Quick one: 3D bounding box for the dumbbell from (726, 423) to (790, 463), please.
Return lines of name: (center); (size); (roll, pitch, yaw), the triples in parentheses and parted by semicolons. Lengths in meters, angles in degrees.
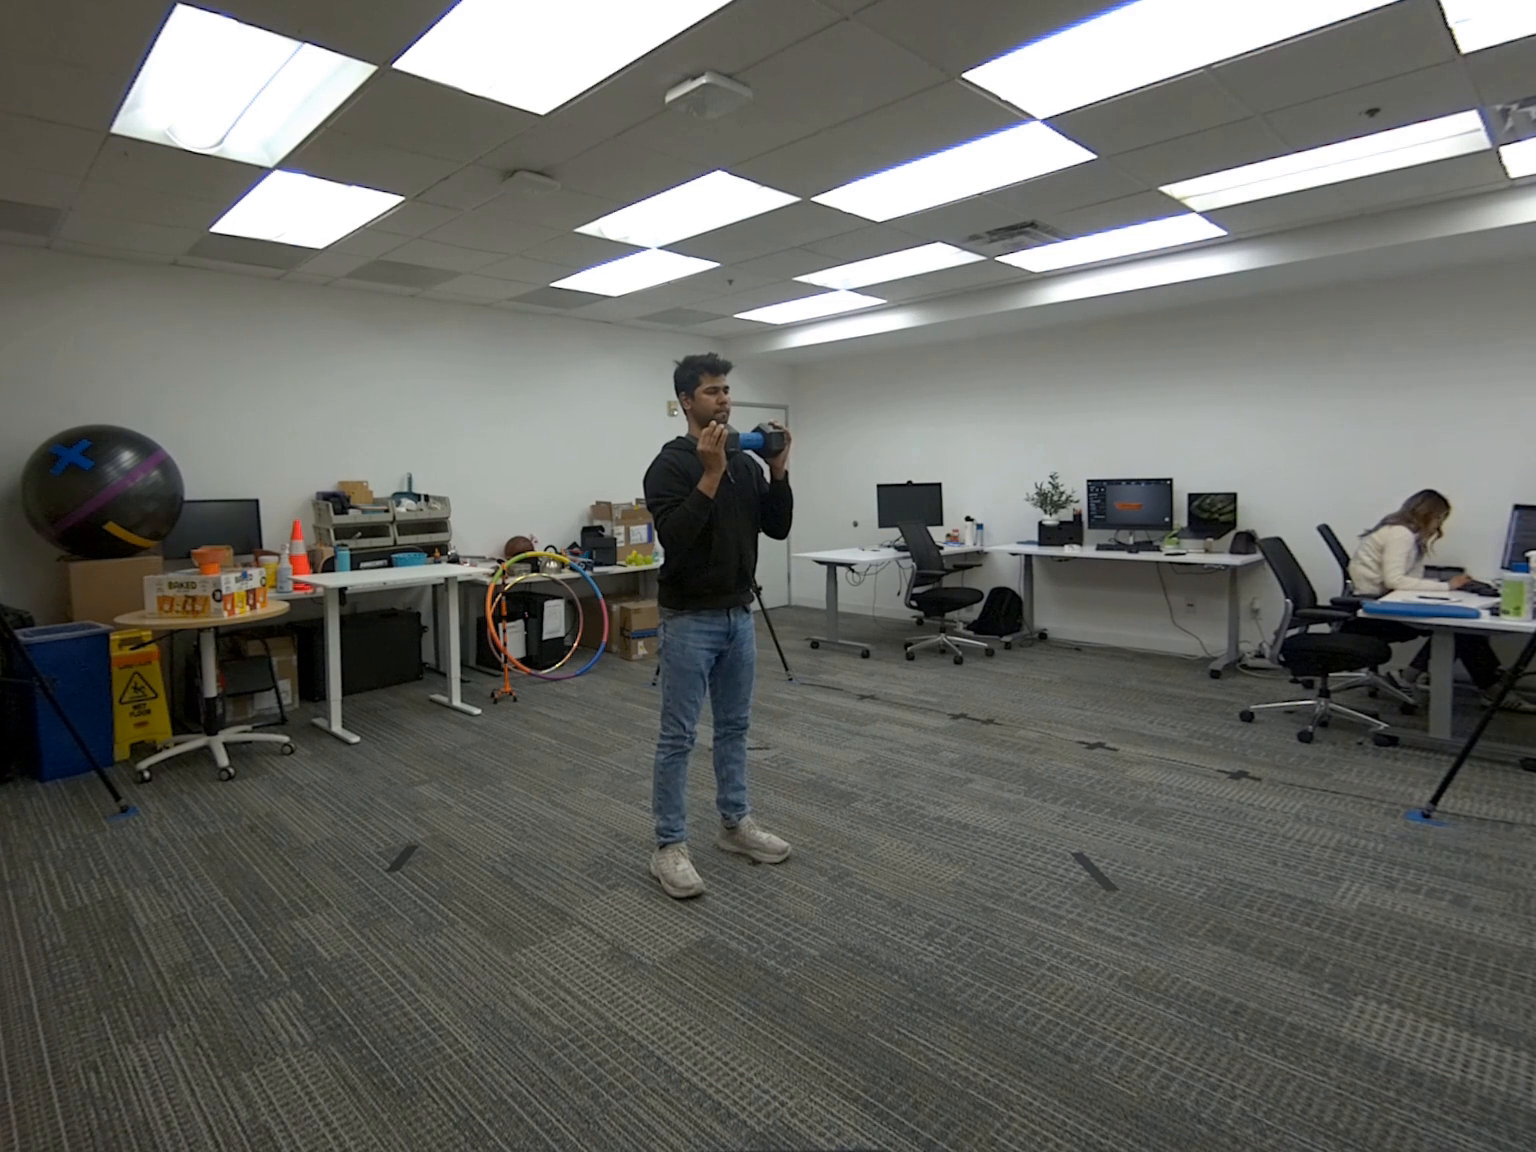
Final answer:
dumbbell: (-0.084, -0.448, 2.886); (0.286, 0.122, 0.112); (-11, 9, -43)
